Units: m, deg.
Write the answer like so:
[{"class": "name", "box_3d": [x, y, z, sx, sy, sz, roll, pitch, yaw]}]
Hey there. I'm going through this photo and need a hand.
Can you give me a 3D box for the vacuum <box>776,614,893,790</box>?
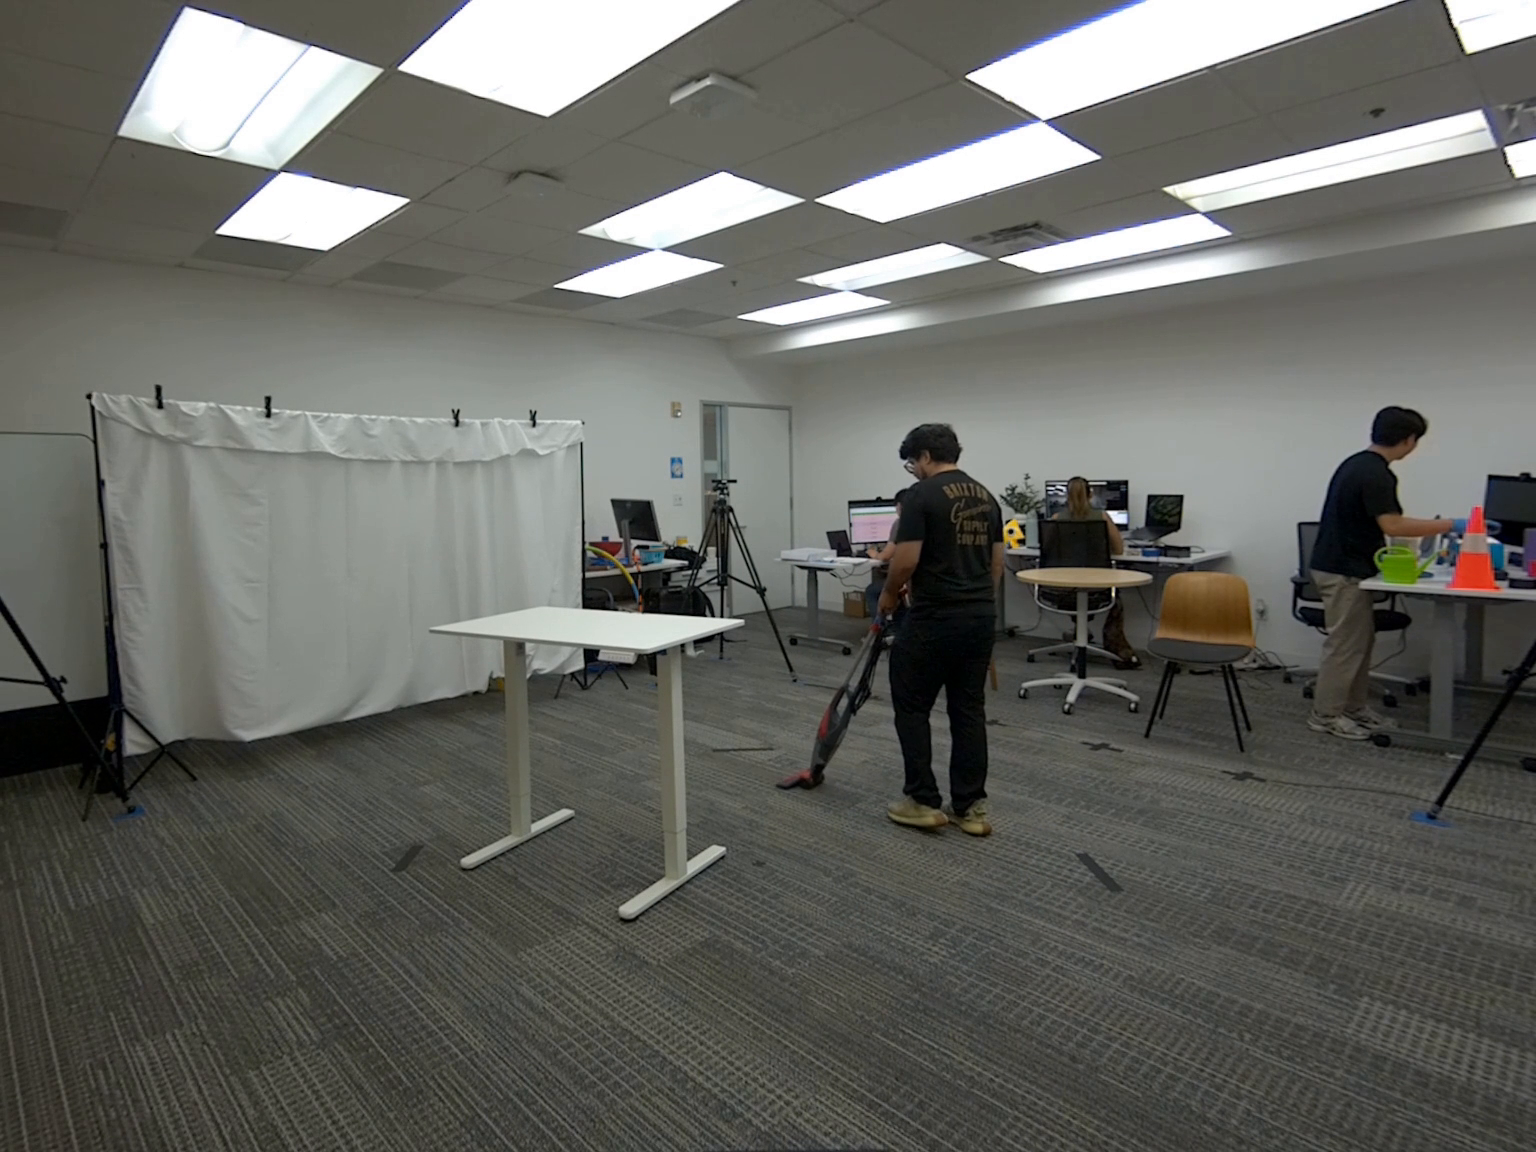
[{"class": "vacuum", "box_3d": [0.359, 0.516, 3.748, 0.149, 1.040, 0.246, 36, 24, 27]}]
